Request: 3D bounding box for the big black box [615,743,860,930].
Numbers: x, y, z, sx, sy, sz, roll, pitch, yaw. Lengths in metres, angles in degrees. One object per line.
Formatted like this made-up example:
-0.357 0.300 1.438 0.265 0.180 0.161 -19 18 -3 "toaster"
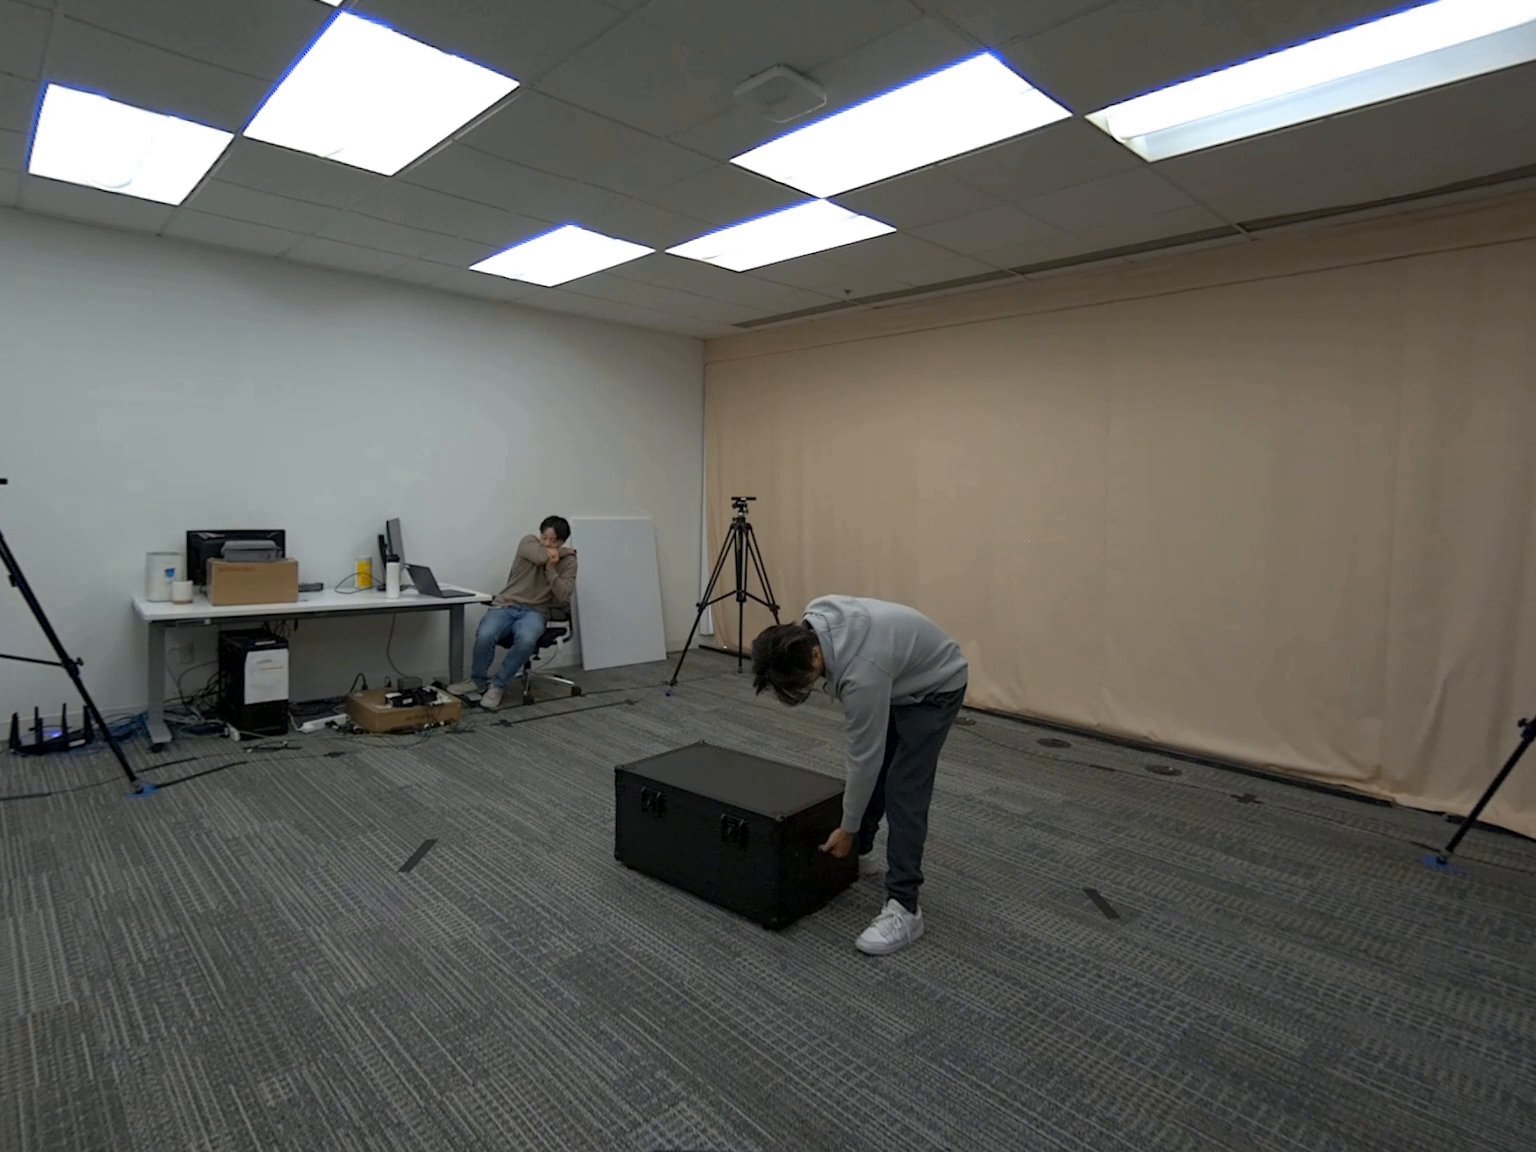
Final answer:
-0.154 0.918 3.122 0.883 0.395 0.510 6 7 39 "big black box"
